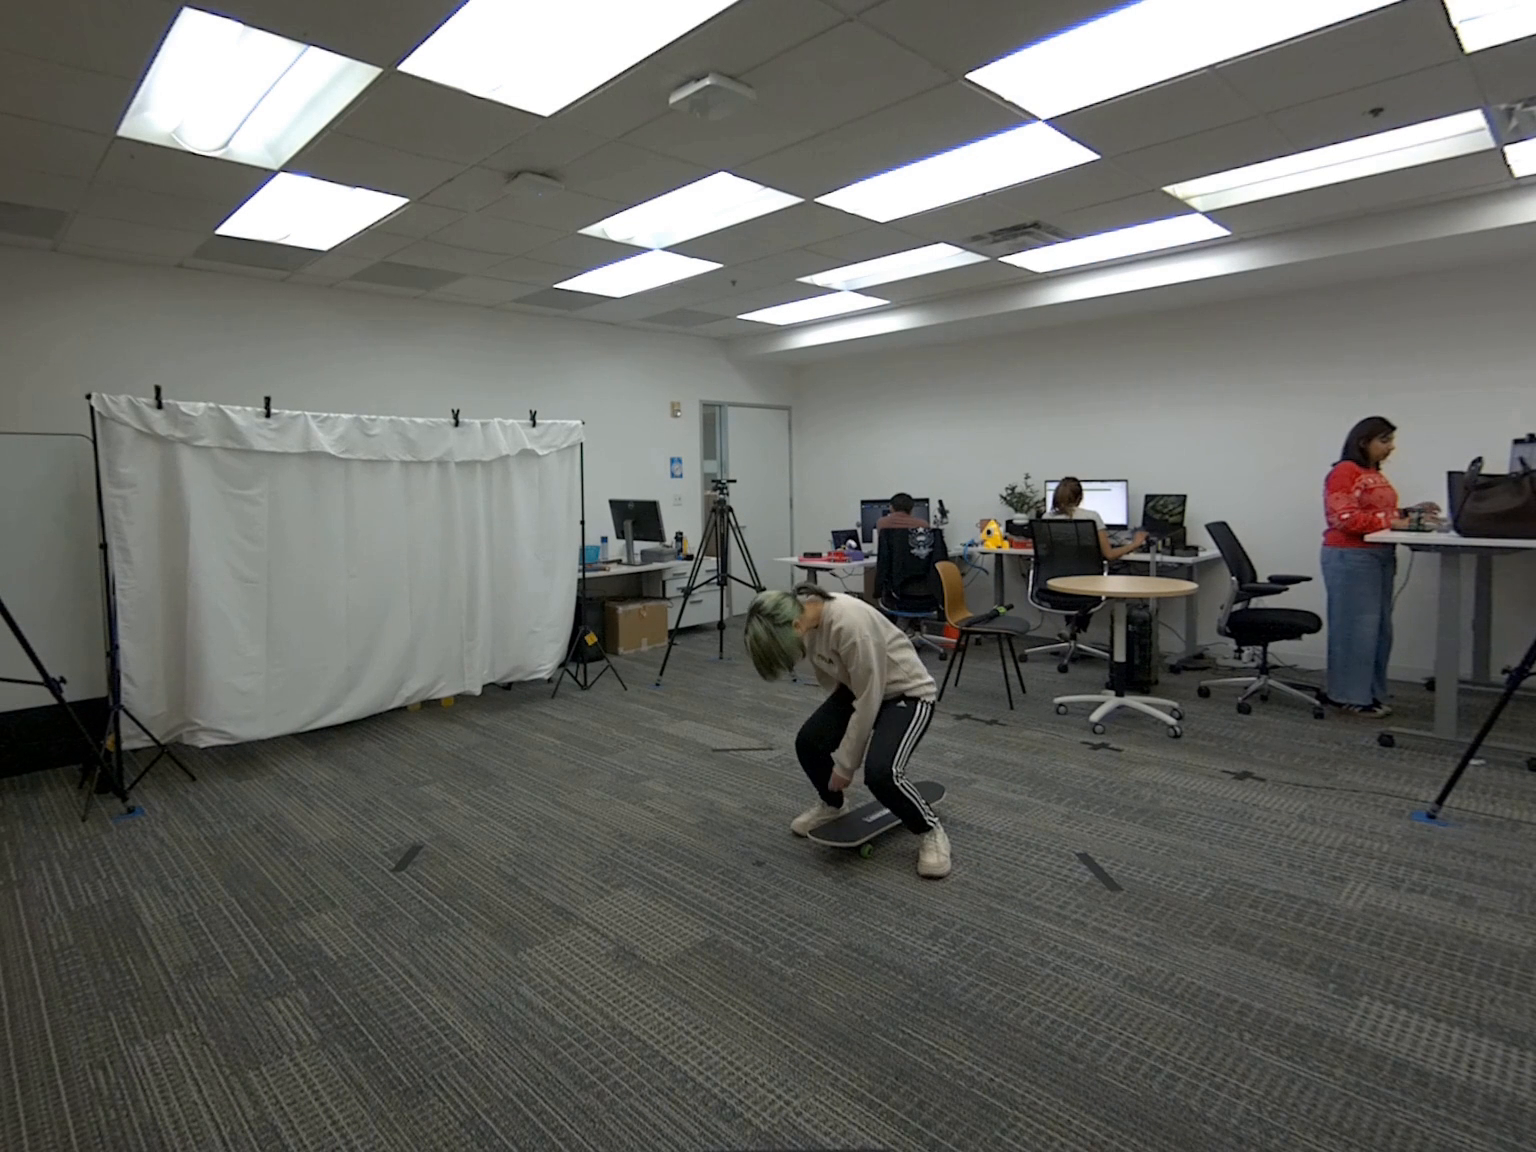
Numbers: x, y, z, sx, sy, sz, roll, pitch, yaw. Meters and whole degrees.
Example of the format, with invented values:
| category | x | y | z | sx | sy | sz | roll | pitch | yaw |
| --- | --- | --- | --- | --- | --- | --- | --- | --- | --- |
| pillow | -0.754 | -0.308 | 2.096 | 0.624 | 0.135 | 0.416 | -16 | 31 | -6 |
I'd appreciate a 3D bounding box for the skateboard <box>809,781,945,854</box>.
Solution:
| category | x | y | z | sx | sy | sz | roll | pitch | yaw |
| --- | --- | --- | --- | --- | --- | --- | --- | --- | --- |
| skateboard | 0.439 | 0.954 | 3.332 | 0.199 | 0.110 | 0.765 | 3 | 8 | 44 |
